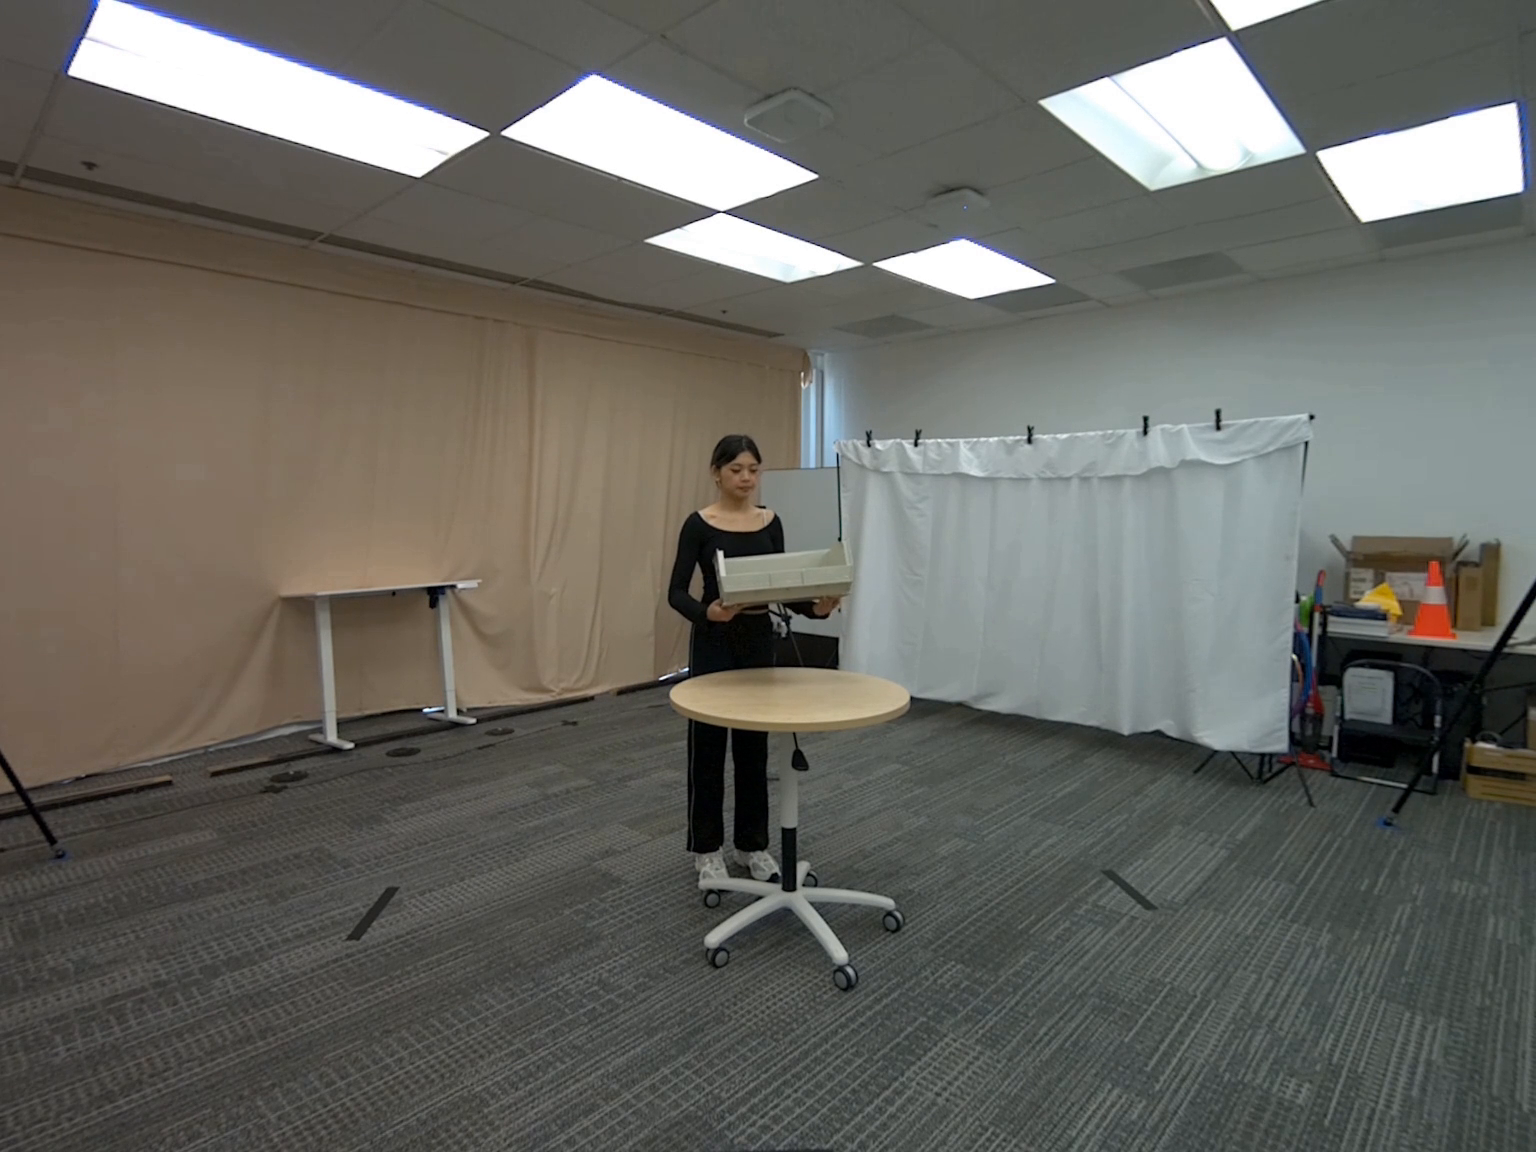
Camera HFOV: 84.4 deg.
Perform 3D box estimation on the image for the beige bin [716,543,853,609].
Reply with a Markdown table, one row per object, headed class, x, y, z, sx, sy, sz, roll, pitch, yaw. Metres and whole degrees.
| class | x | y | z | sx | sy | sz | roll | pitch | yaw |
| --- | --- | --- | --- | --- | --- | --- | --- | --- | --- |
| beige bin | 0.047 | 0.002 | 2.796 | 0.421 | 0.190 | 0.377 | -5 | -5 | -4 |
